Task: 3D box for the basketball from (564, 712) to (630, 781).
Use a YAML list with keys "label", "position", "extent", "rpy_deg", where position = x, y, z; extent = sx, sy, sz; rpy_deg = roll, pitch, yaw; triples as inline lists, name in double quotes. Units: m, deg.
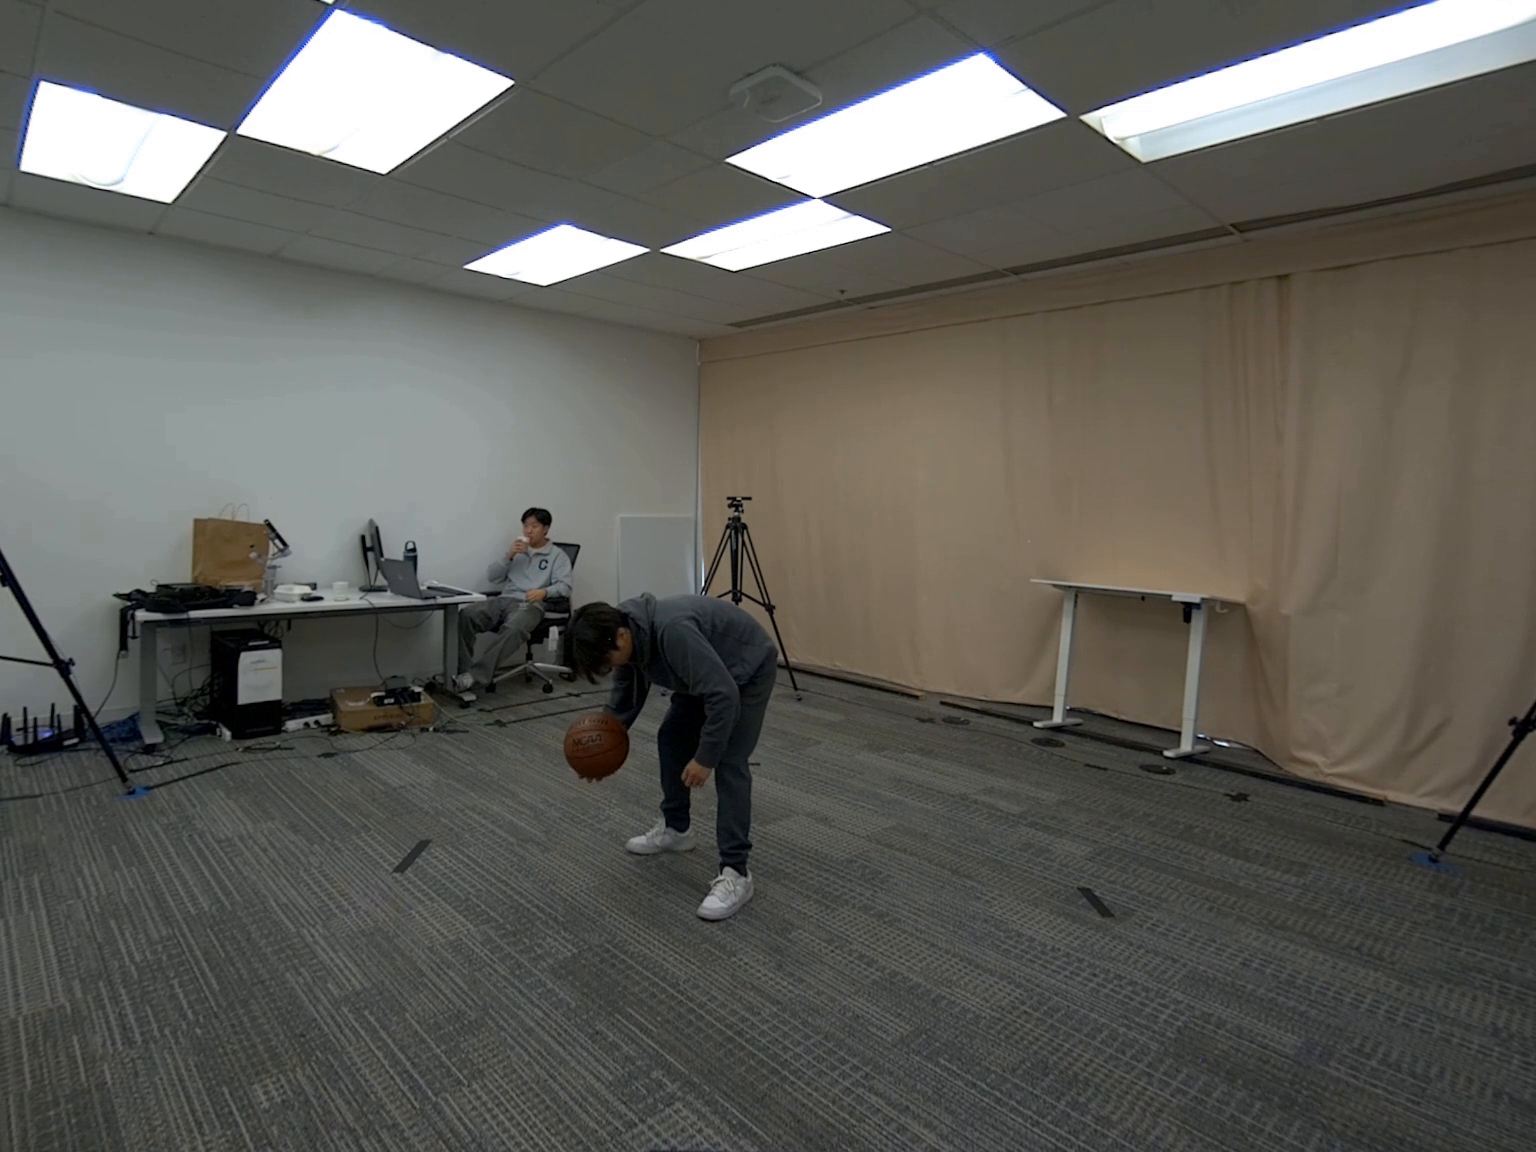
- label: "basketball"
  position: [-0.626, 0.612, 3.067]
  extent: [0.236, 0.235, 0.237]
  rpy_deg: [1, 4, -1]
